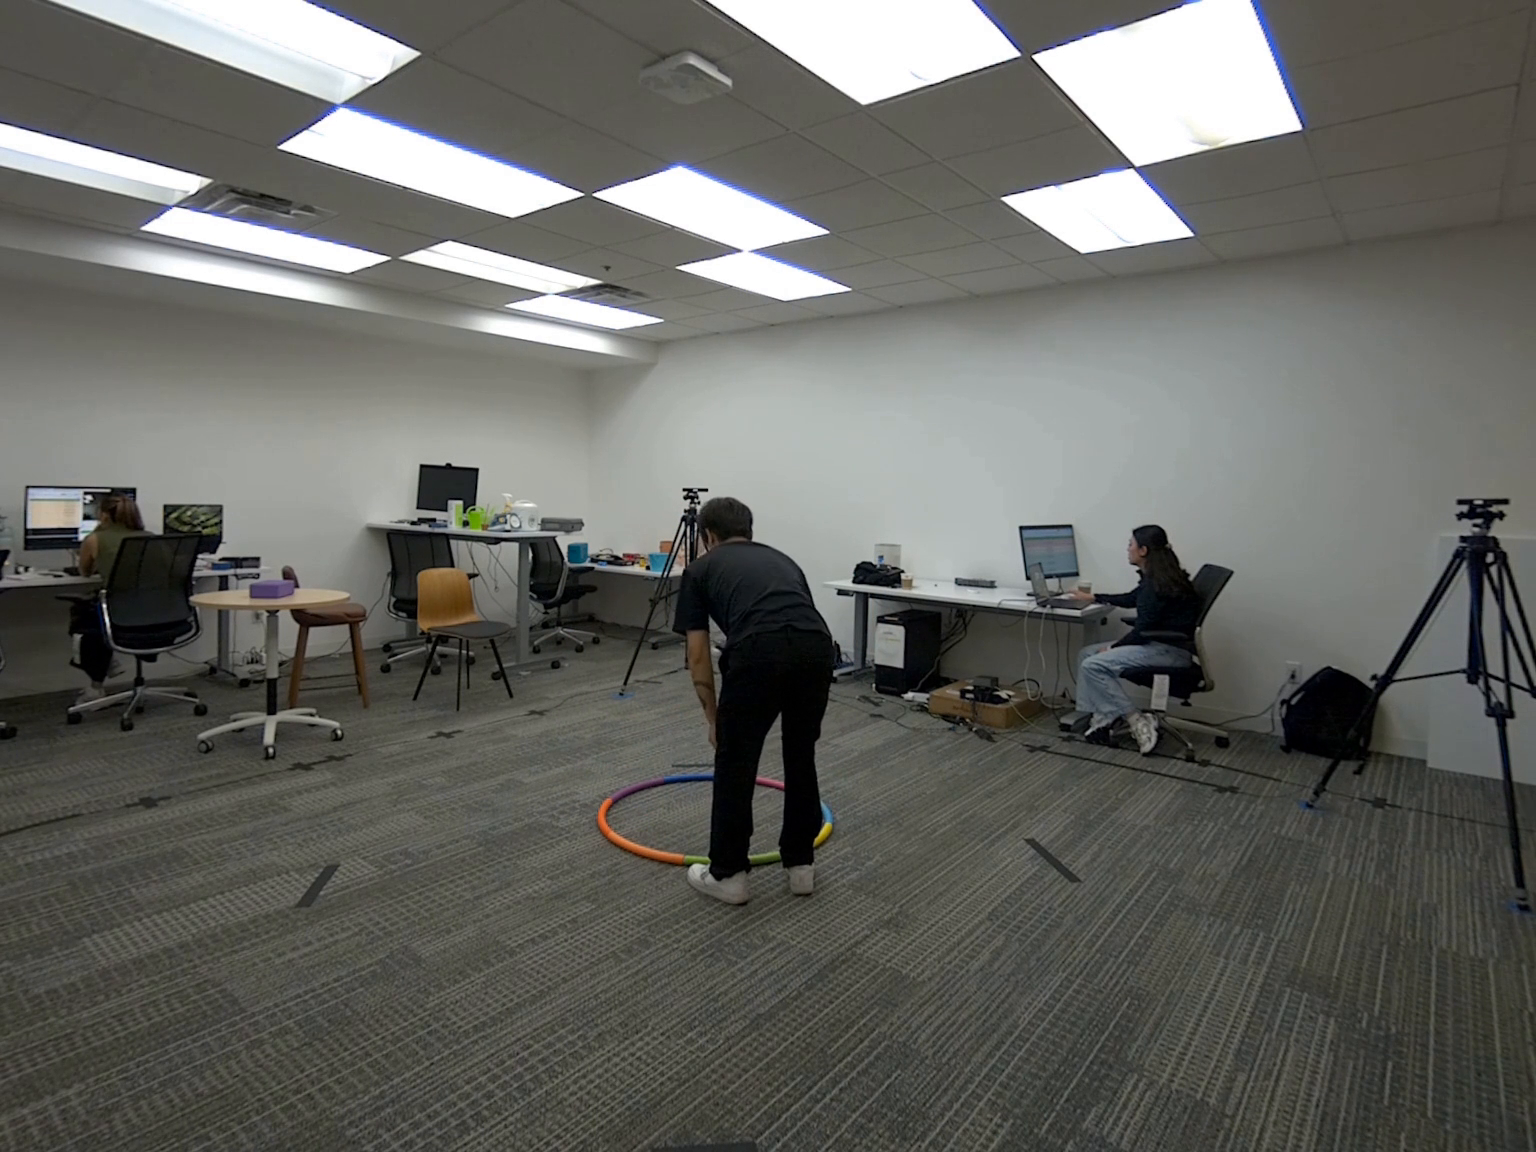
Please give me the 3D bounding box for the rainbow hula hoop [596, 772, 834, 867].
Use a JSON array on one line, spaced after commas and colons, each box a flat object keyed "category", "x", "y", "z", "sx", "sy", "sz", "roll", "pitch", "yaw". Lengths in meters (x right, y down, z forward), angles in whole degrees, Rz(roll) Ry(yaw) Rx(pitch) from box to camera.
[{"category": "rainbow hula hoop", "x": -0.233, "y": 0.993, "z": 3.598, "sx": 0.978, "sy": 0.035, "sz": 0.984, "roll": 1, "pitch": 6, "yaw": -2}]
